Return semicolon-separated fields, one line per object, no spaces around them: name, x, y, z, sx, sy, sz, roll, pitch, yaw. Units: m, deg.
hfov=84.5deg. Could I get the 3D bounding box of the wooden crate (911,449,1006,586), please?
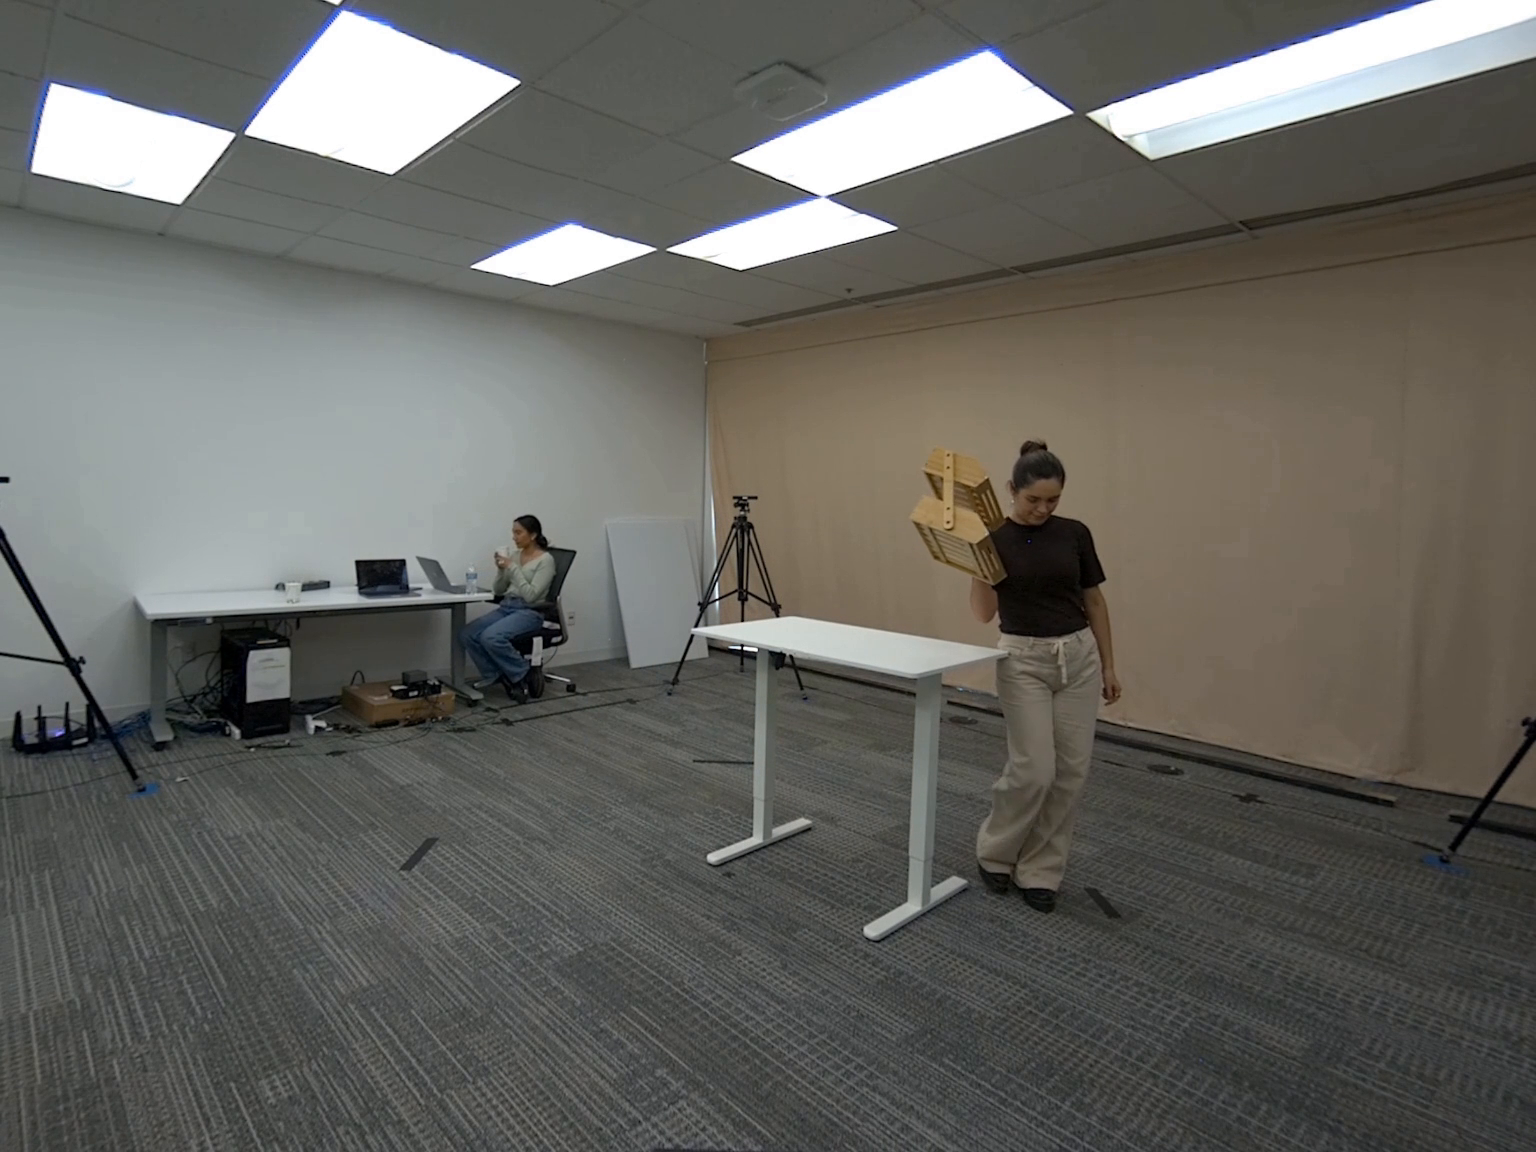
wooden crate;0.635;-0.191;2.682;0.311;0.274;0.314;25;-12;35
